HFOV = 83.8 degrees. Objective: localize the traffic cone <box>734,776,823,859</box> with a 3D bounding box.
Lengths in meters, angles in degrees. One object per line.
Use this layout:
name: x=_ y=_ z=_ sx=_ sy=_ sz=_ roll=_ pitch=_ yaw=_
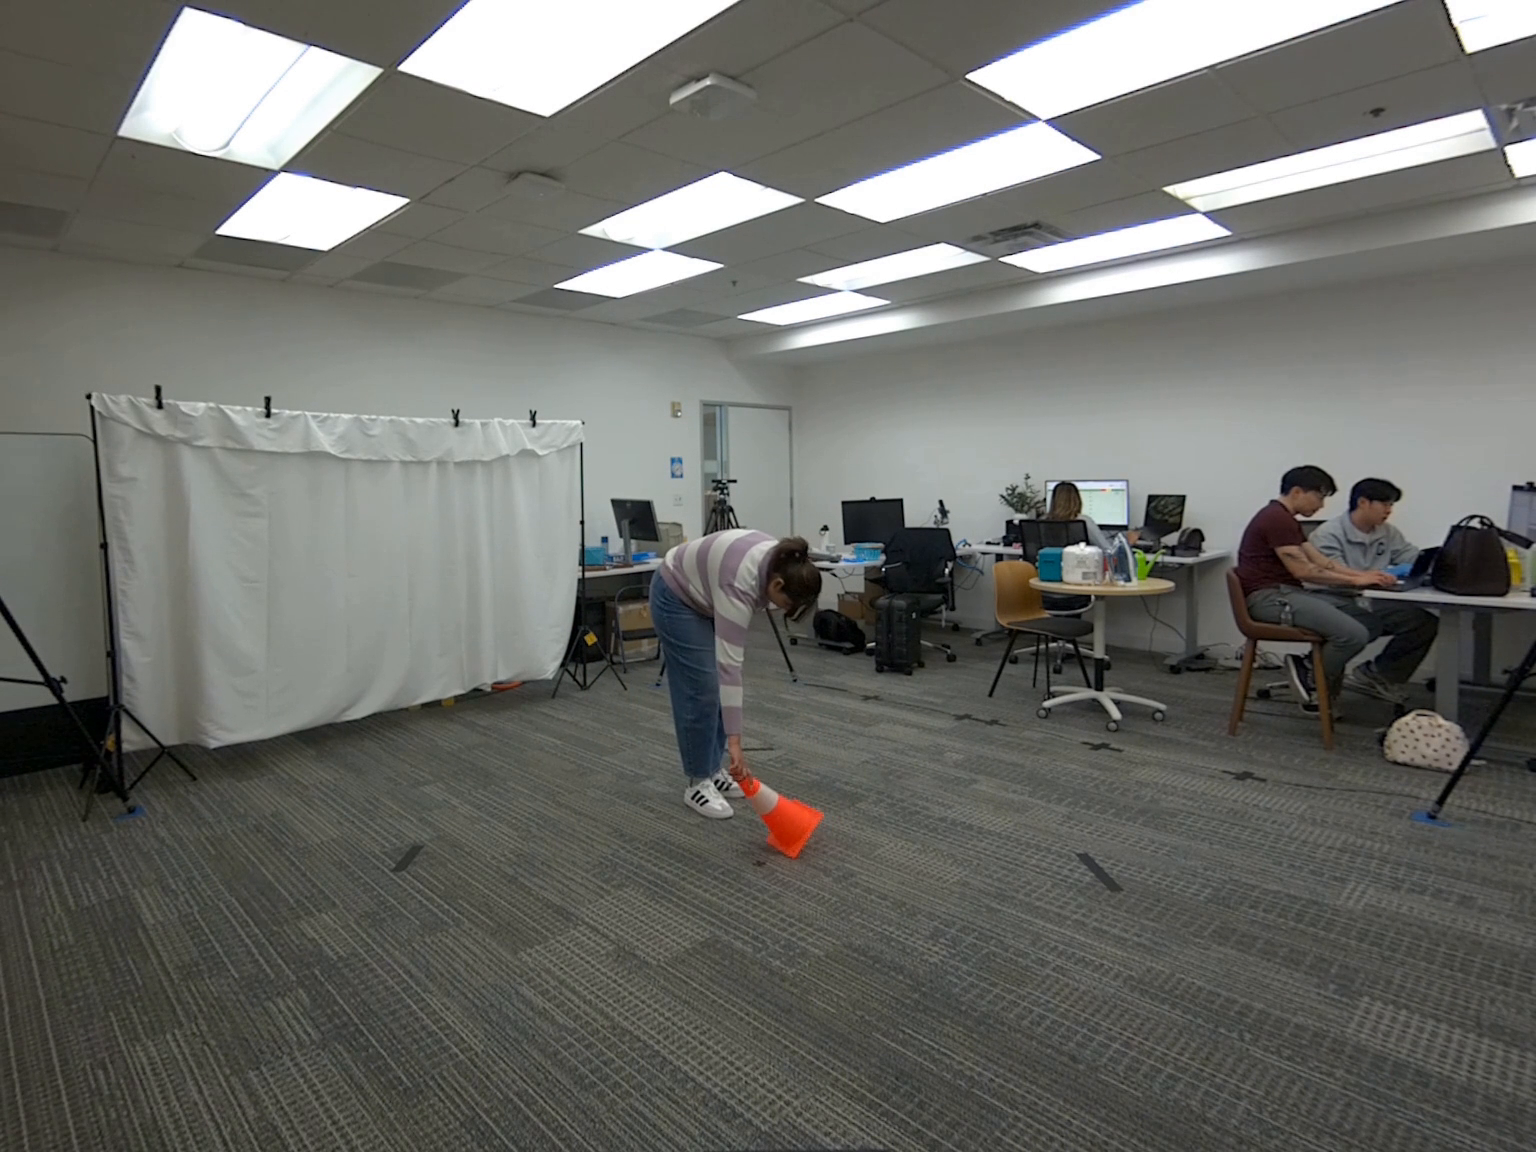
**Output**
traffic cone: x=-0.023 y=0.833 z=3.183 sx=0.375 sy=0.205 sz=0.208 roll=45 pitch=-14 yaw=-18
